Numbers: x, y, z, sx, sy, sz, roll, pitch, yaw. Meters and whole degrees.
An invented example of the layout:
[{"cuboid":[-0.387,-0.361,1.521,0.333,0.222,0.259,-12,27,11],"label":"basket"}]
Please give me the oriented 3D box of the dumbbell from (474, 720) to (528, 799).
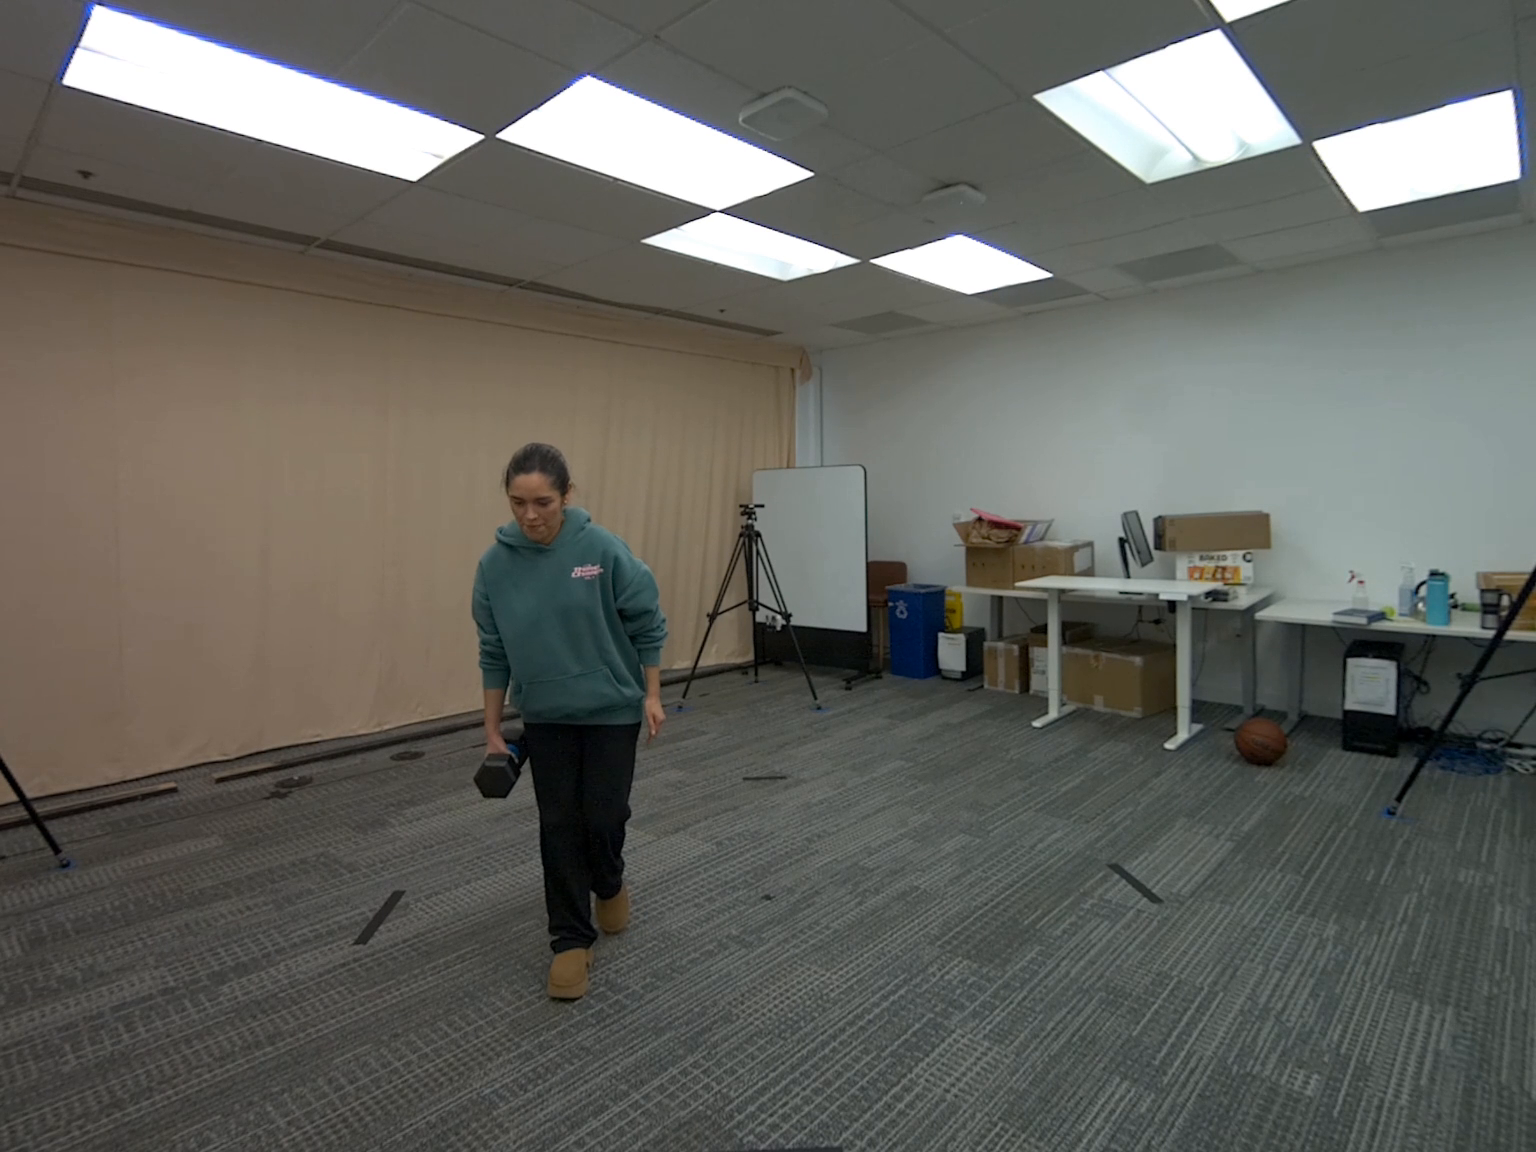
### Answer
[{"cuboid":[-0.759,0.538,2.442,0.108,0.122,0.296,-27,9,-3],"label":"dumbbell"}]
